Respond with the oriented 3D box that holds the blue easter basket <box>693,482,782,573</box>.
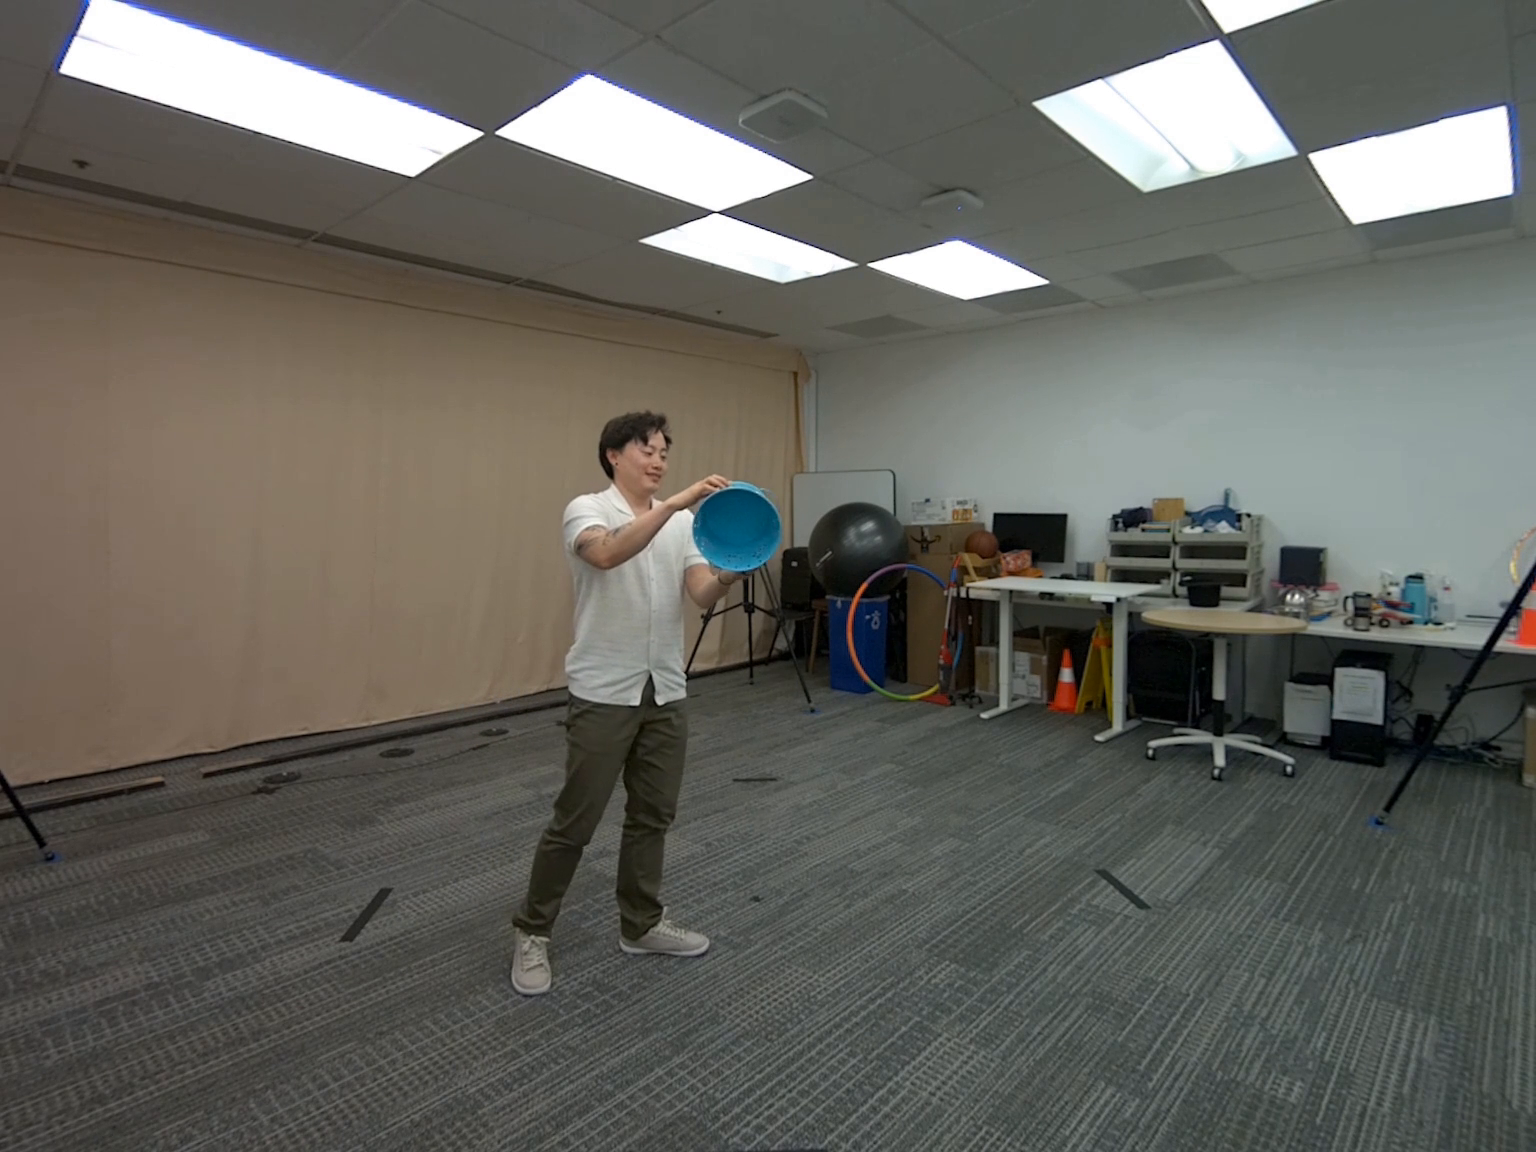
[{"bbox_3d":[-0.080,-0.139,2.249,0.244,0.241,0.157,0,19,1],"label":"blue easter basket"}]
